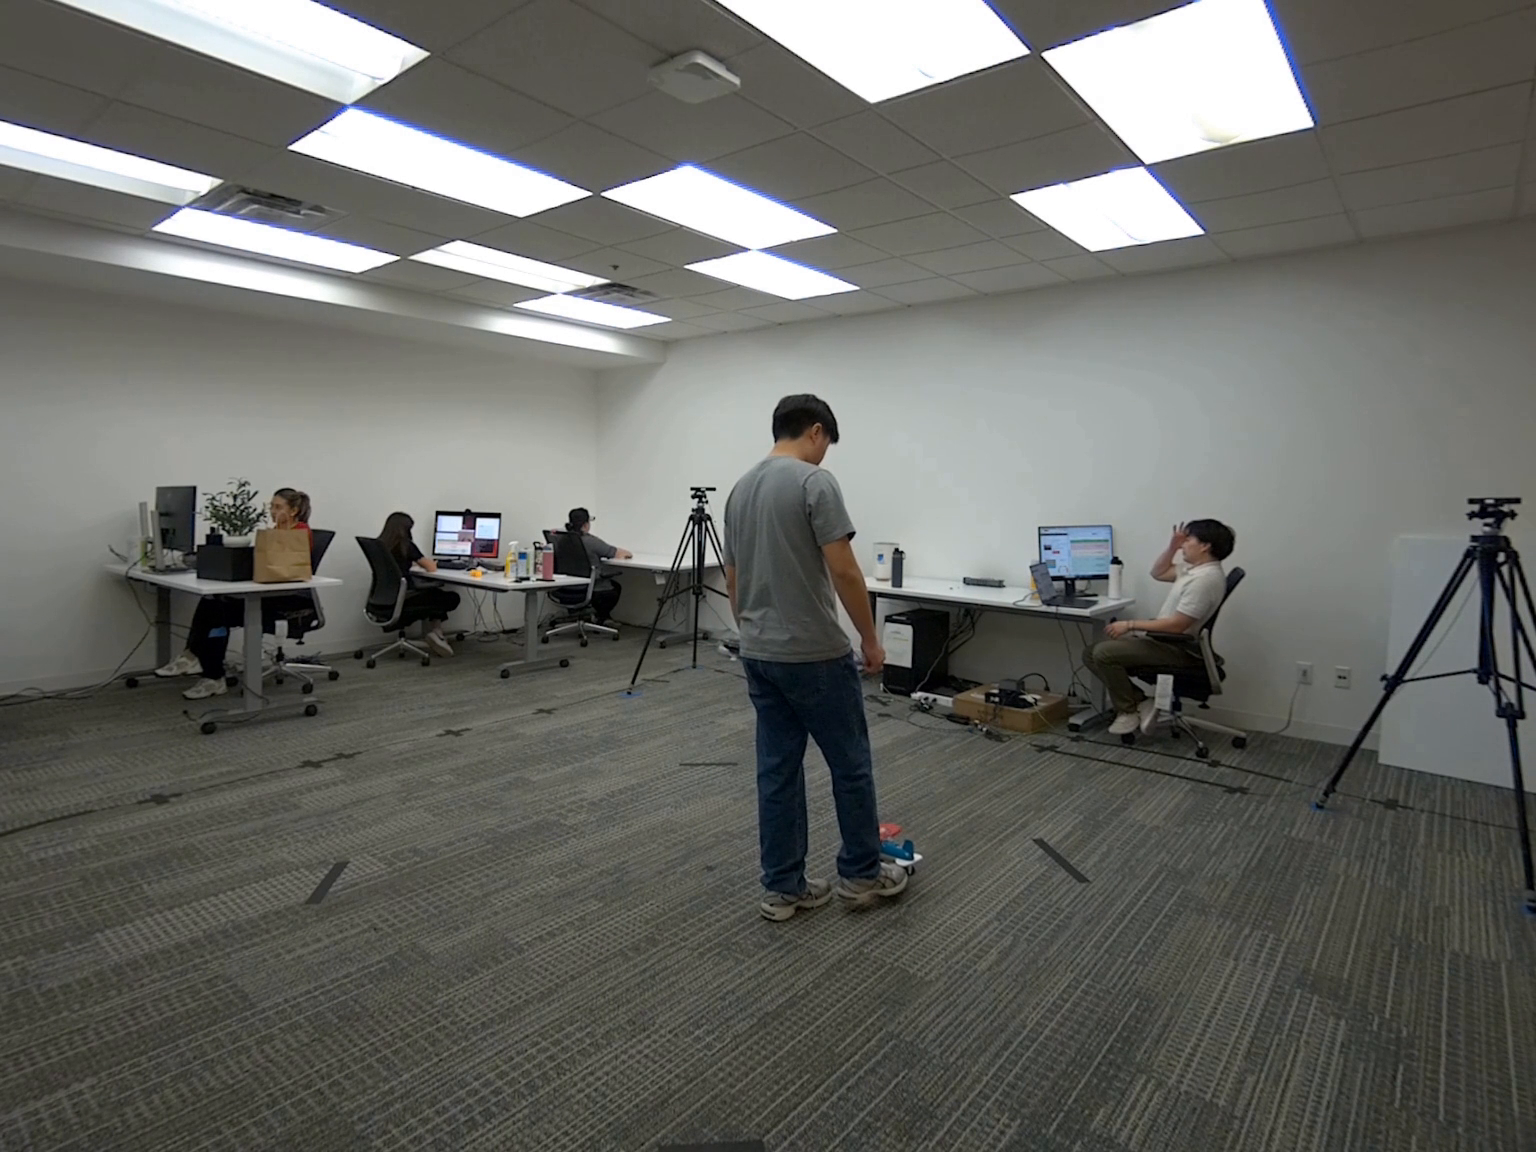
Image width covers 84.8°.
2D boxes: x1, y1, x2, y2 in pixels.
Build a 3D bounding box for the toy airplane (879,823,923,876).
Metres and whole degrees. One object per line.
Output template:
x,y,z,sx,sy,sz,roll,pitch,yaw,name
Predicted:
0.421,0.988,3.073,0.263,0.157,0.246,-11,-5,17,toy airplane
